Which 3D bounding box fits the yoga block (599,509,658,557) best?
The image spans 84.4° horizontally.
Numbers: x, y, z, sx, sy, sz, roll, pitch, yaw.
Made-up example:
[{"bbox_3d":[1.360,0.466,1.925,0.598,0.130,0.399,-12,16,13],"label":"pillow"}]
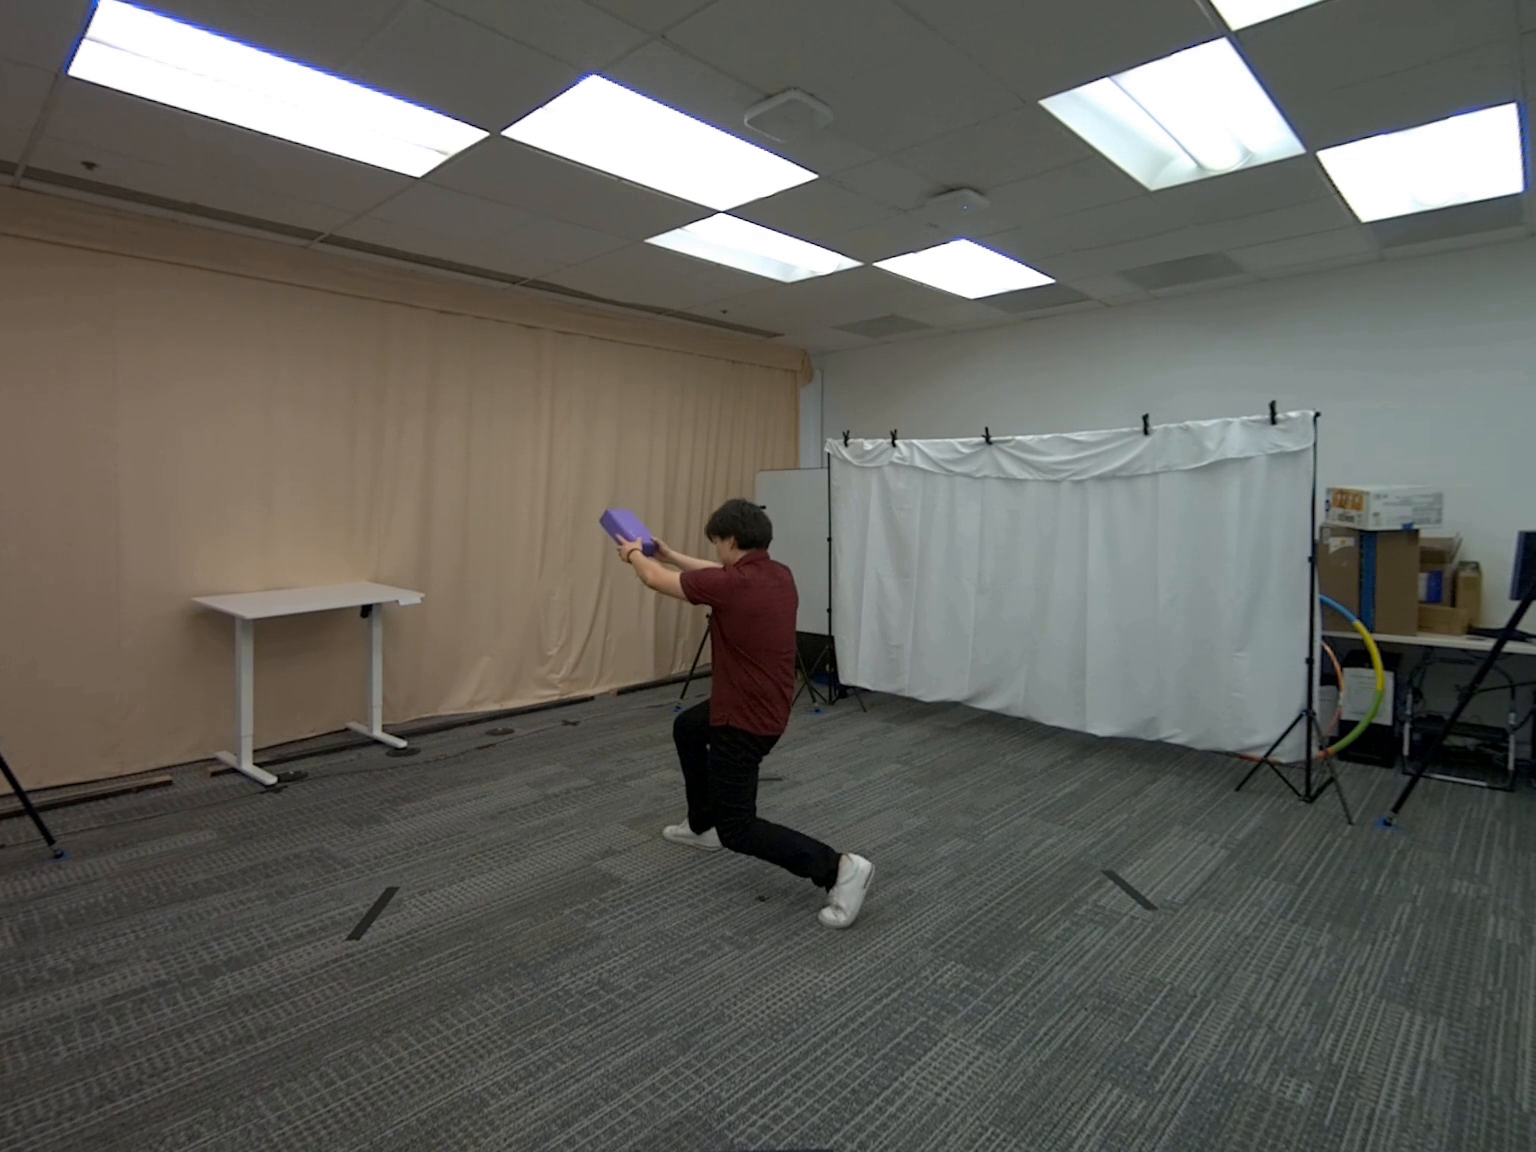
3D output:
[{"bbox_3d":[-0.574,-0.168,3.500,0.236,0.076,0.144,46,26,26],"label":"yoga block"}]
